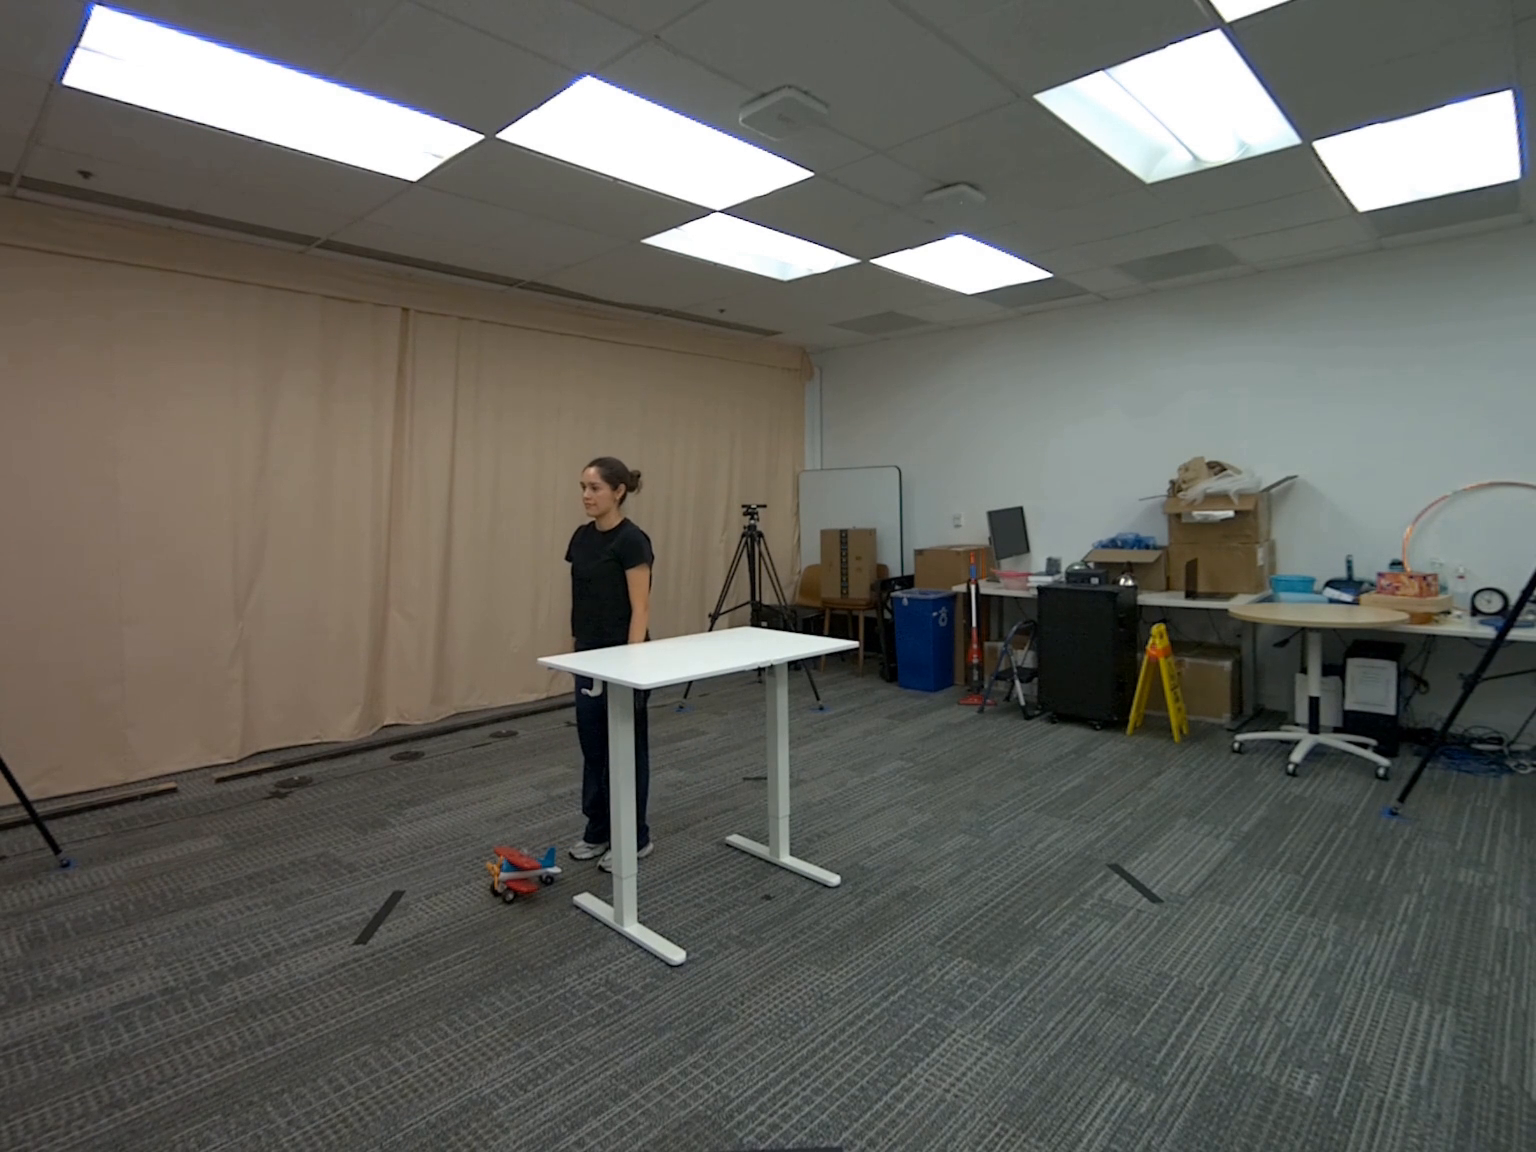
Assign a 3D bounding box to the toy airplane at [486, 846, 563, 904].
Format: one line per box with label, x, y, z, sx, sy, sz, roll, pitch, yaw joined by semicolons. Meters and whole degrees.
toy airplane;-0.898;1.079;3.081;0.256;0.156;0.255;0;5;18
